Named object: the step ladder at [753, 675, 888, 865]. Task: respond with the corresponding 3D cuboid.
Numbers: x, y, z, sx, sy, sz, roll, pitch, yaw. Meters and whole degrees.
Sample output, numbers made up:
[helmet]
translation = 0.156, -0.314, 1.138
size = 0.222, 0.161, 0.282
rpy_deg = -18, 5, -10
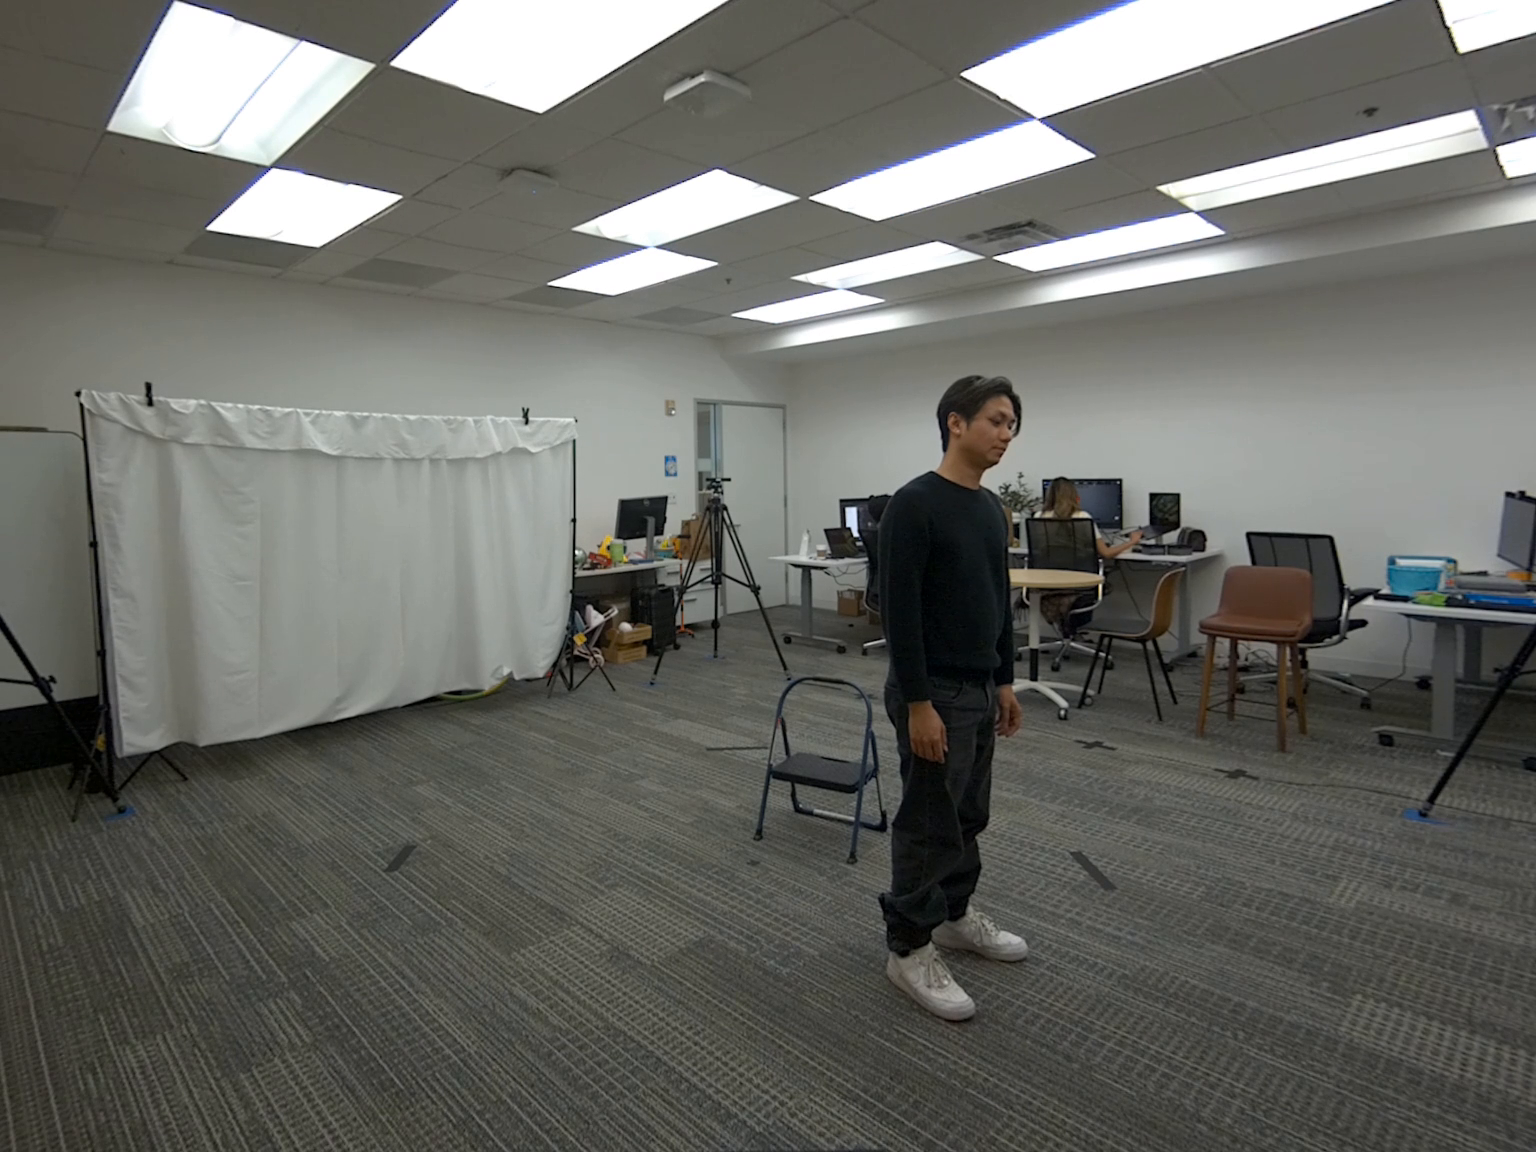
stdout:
[step ladder]
translation = 0.208, 0.710, 3.320
size = 0.442, 0.603, 0.341
rpy_deg = 2, 6, 32
